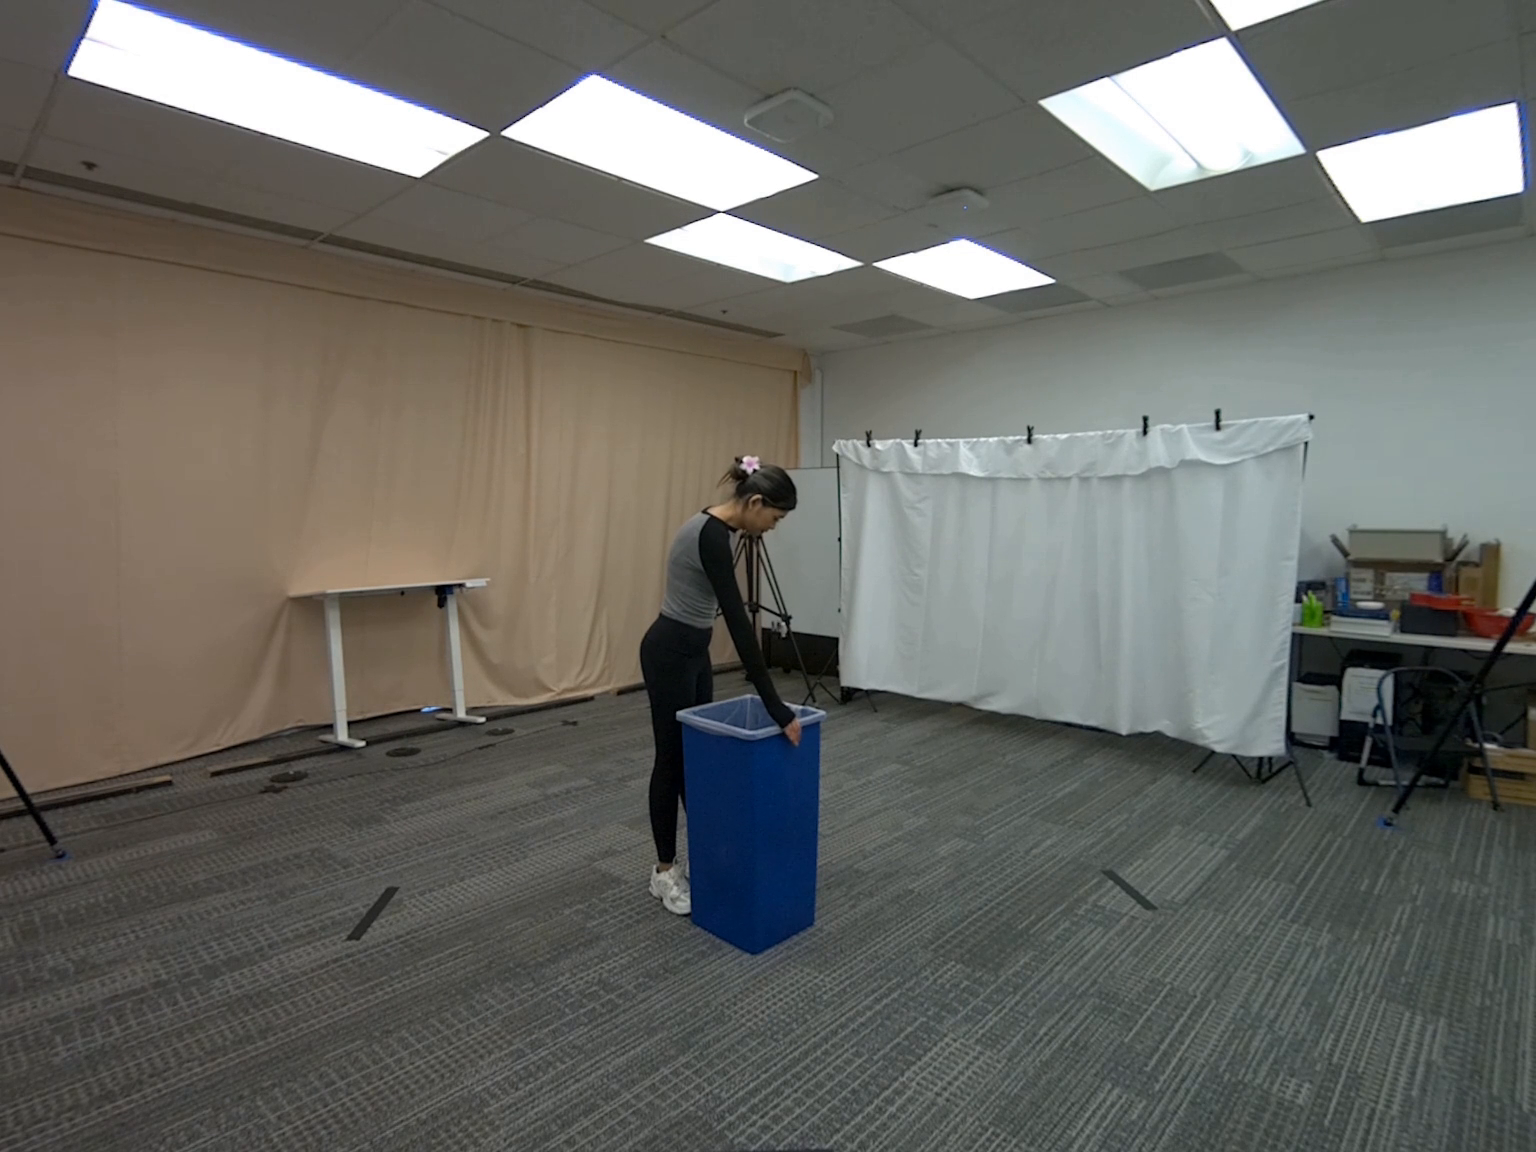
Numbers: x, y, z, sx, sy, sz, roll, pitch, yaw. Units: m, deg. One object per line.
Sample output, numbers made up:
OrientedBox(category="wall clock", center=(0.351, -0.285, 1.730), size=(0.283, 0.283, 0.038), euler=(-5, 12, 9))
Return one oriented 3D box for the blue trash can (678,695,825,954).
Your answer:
OrientedBox(category="blue trash can", center=(-0.050, 0.805, 2.783), size=(0.391, 0.712, 0.362), euler=(3, 4, 44))
